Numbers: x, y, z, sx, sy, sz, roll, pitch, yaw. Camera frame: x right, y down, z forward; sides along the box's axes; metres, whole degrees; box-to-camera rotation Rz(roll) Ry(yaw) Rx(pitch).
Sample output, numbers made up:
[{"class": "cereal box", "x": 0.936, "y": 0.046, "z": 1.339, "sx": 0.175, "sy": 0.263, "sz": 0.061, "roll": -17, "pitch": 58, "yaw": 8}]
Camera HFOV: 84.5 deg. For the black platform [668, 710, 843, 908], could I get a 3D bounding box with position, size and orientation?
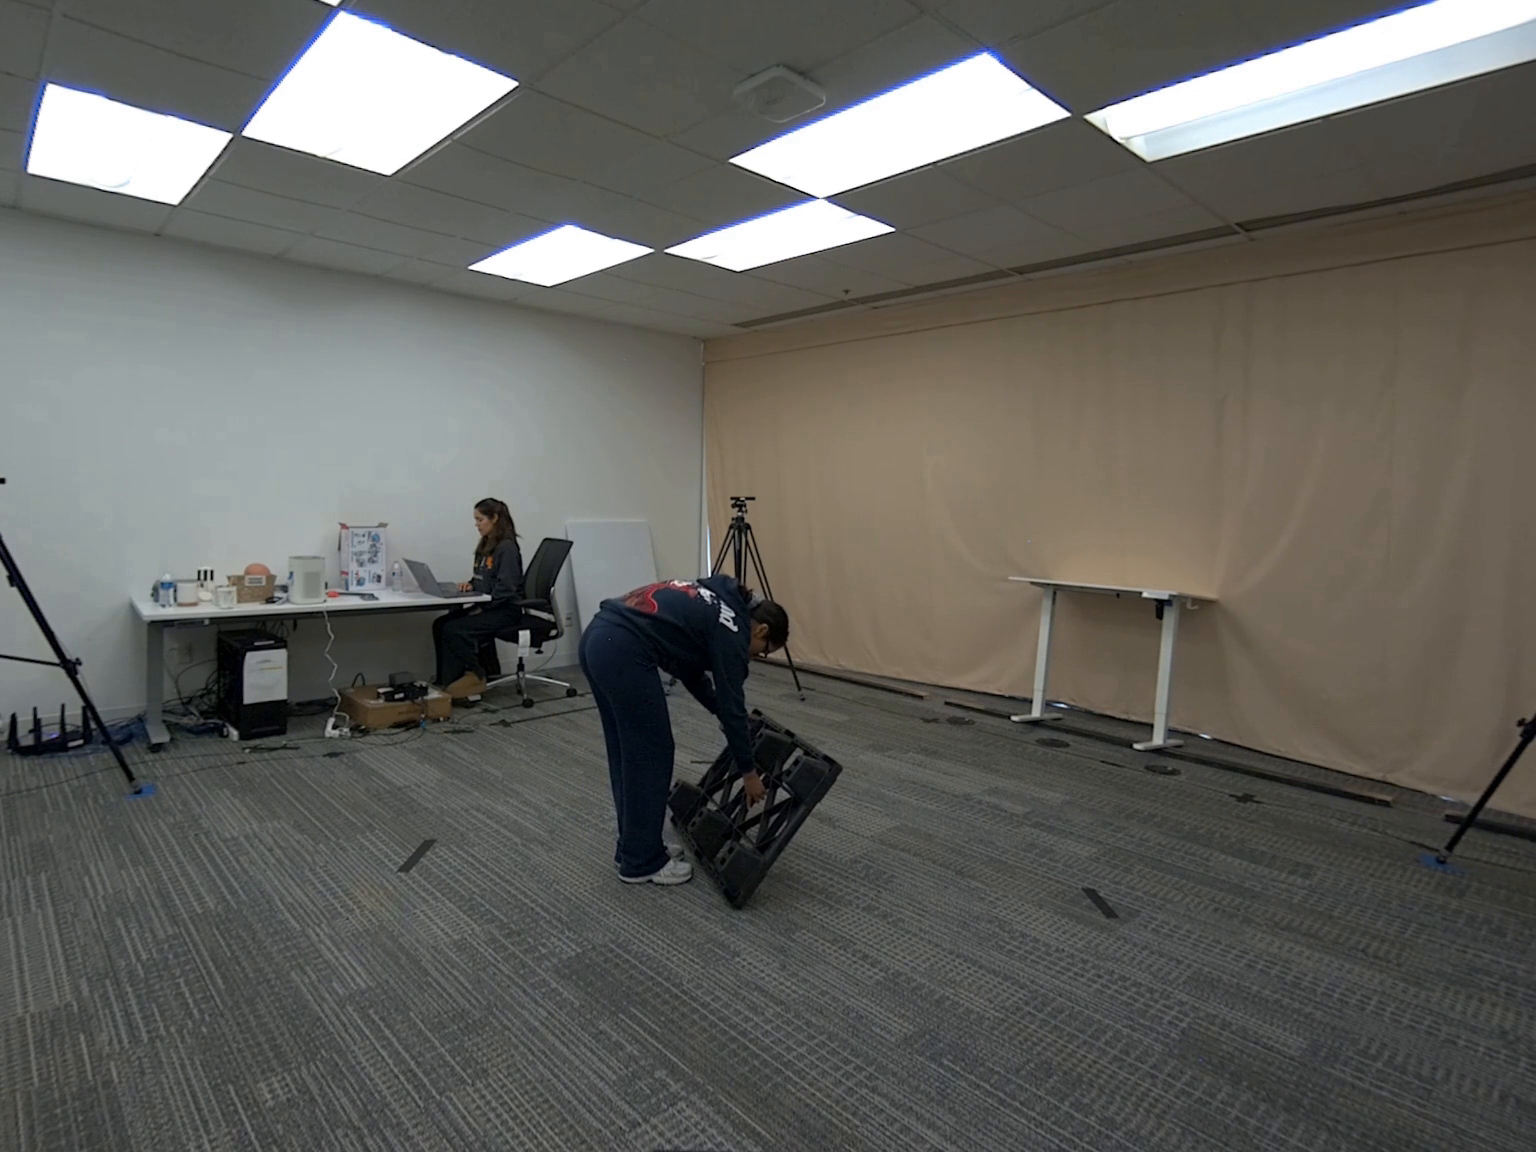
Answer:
[{"class": "black platform", "x": -0.115, "y": 0.826, "z": 3.242, "sx": 0.140, "sy": 0.605, "sz": 0.820, "roll": 42, "pitch": -11, "yaw": -20}]
